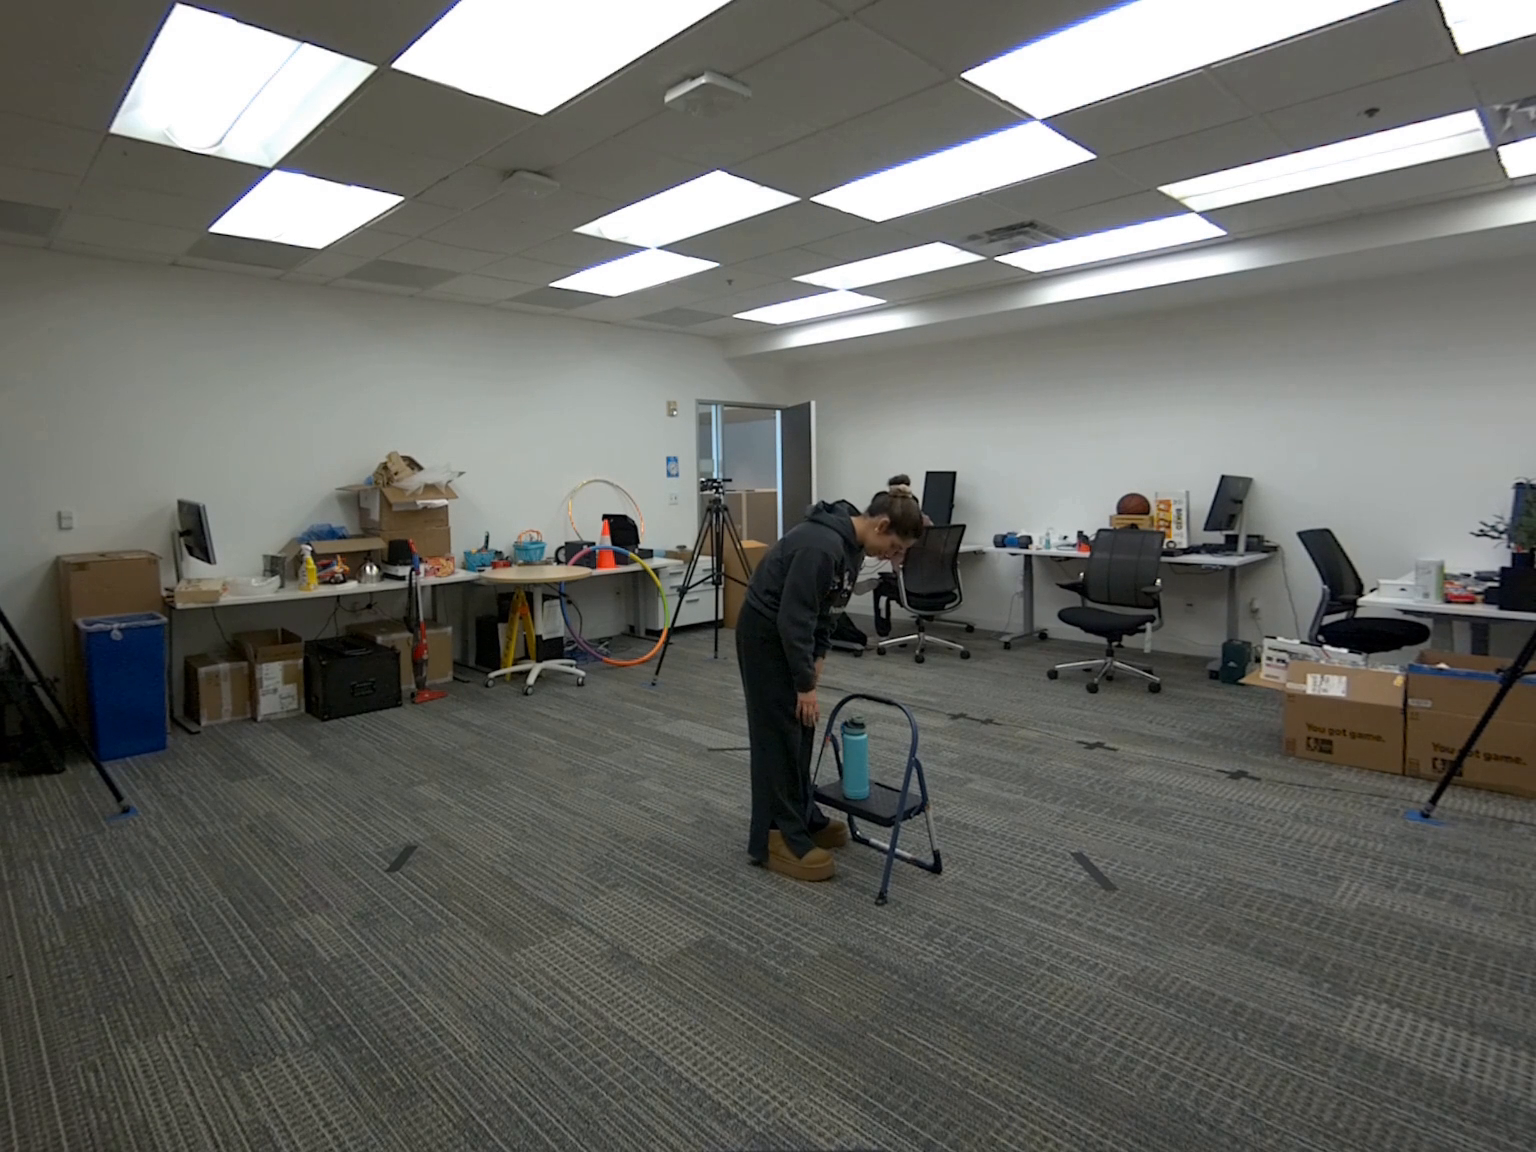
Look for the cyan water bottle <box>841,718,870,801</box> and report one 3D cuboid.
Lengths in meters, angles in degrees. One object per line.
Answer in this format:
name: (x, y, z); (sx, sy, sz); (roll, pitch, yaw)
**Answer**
cyan water bottle: (0.310, 0.646, 3.031); (0.092, 0.282, 0.093); (-3, 6, -1)
